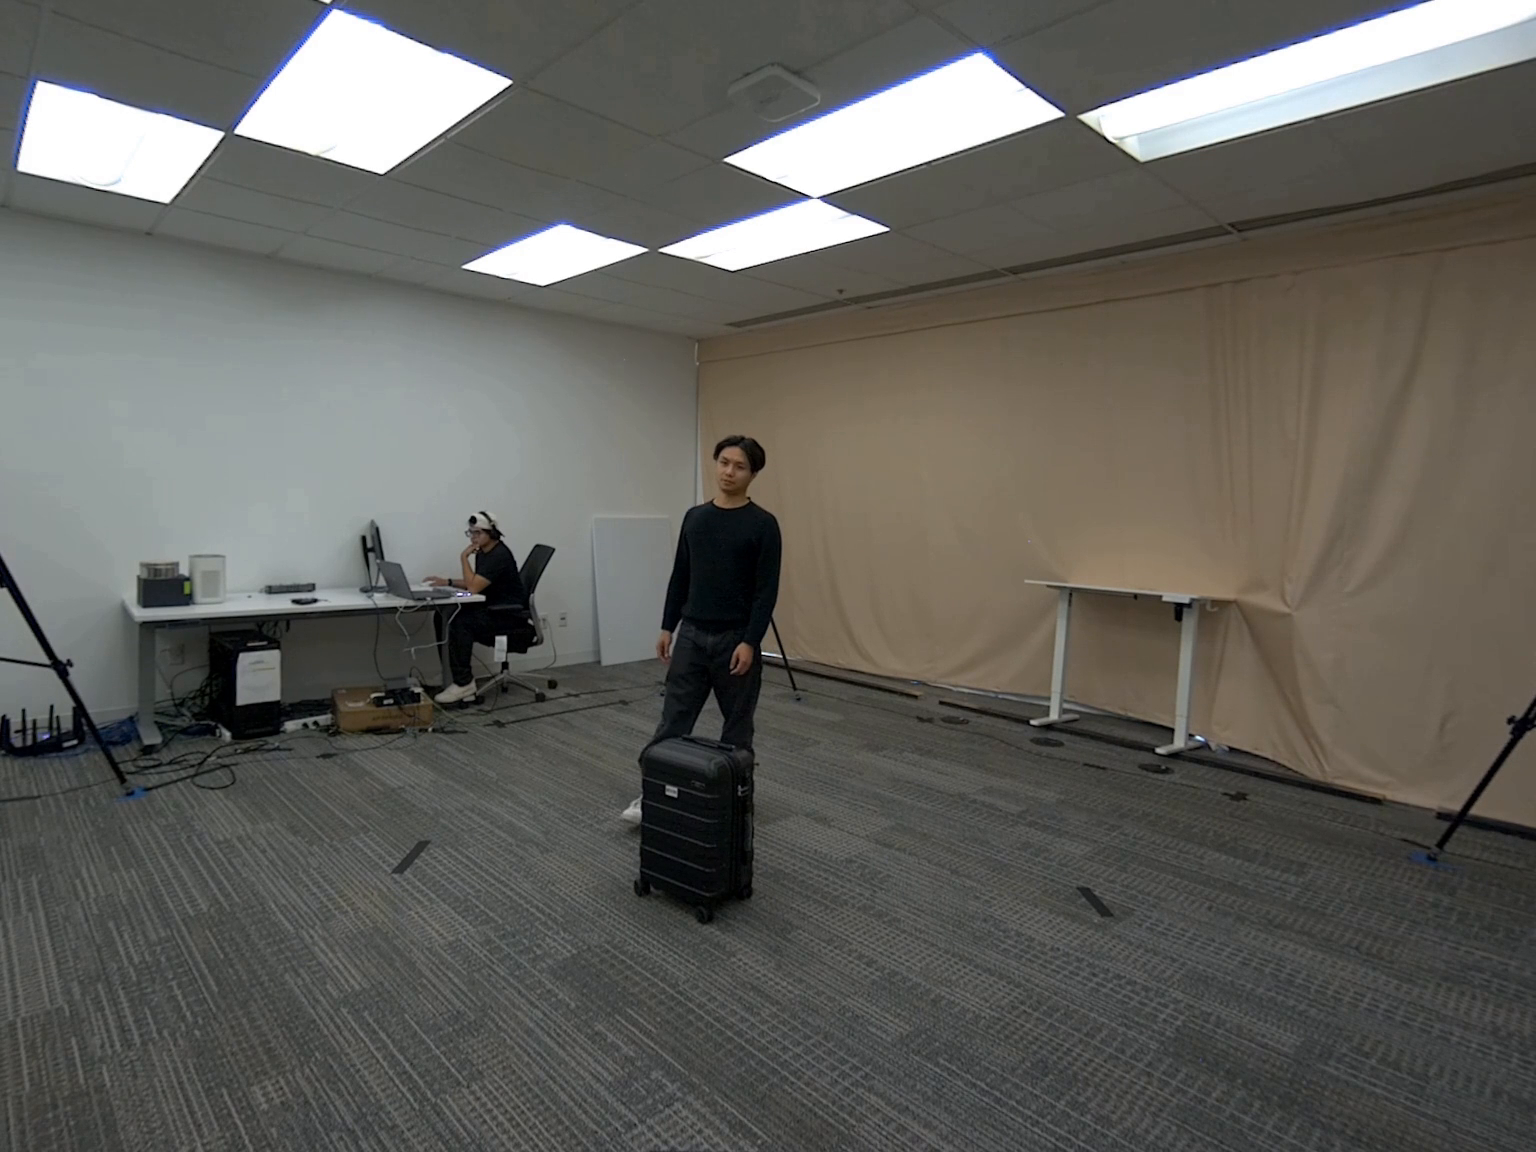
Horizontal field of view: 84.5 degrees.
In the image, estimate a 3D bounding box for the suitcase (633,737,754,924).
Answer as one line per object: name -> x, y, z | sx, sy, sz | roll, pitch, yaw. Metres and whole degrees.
suitcase -> -0.255, 0.848, 2.907 | 0.385, 0.547, 0.243 | 5, 6, 37
